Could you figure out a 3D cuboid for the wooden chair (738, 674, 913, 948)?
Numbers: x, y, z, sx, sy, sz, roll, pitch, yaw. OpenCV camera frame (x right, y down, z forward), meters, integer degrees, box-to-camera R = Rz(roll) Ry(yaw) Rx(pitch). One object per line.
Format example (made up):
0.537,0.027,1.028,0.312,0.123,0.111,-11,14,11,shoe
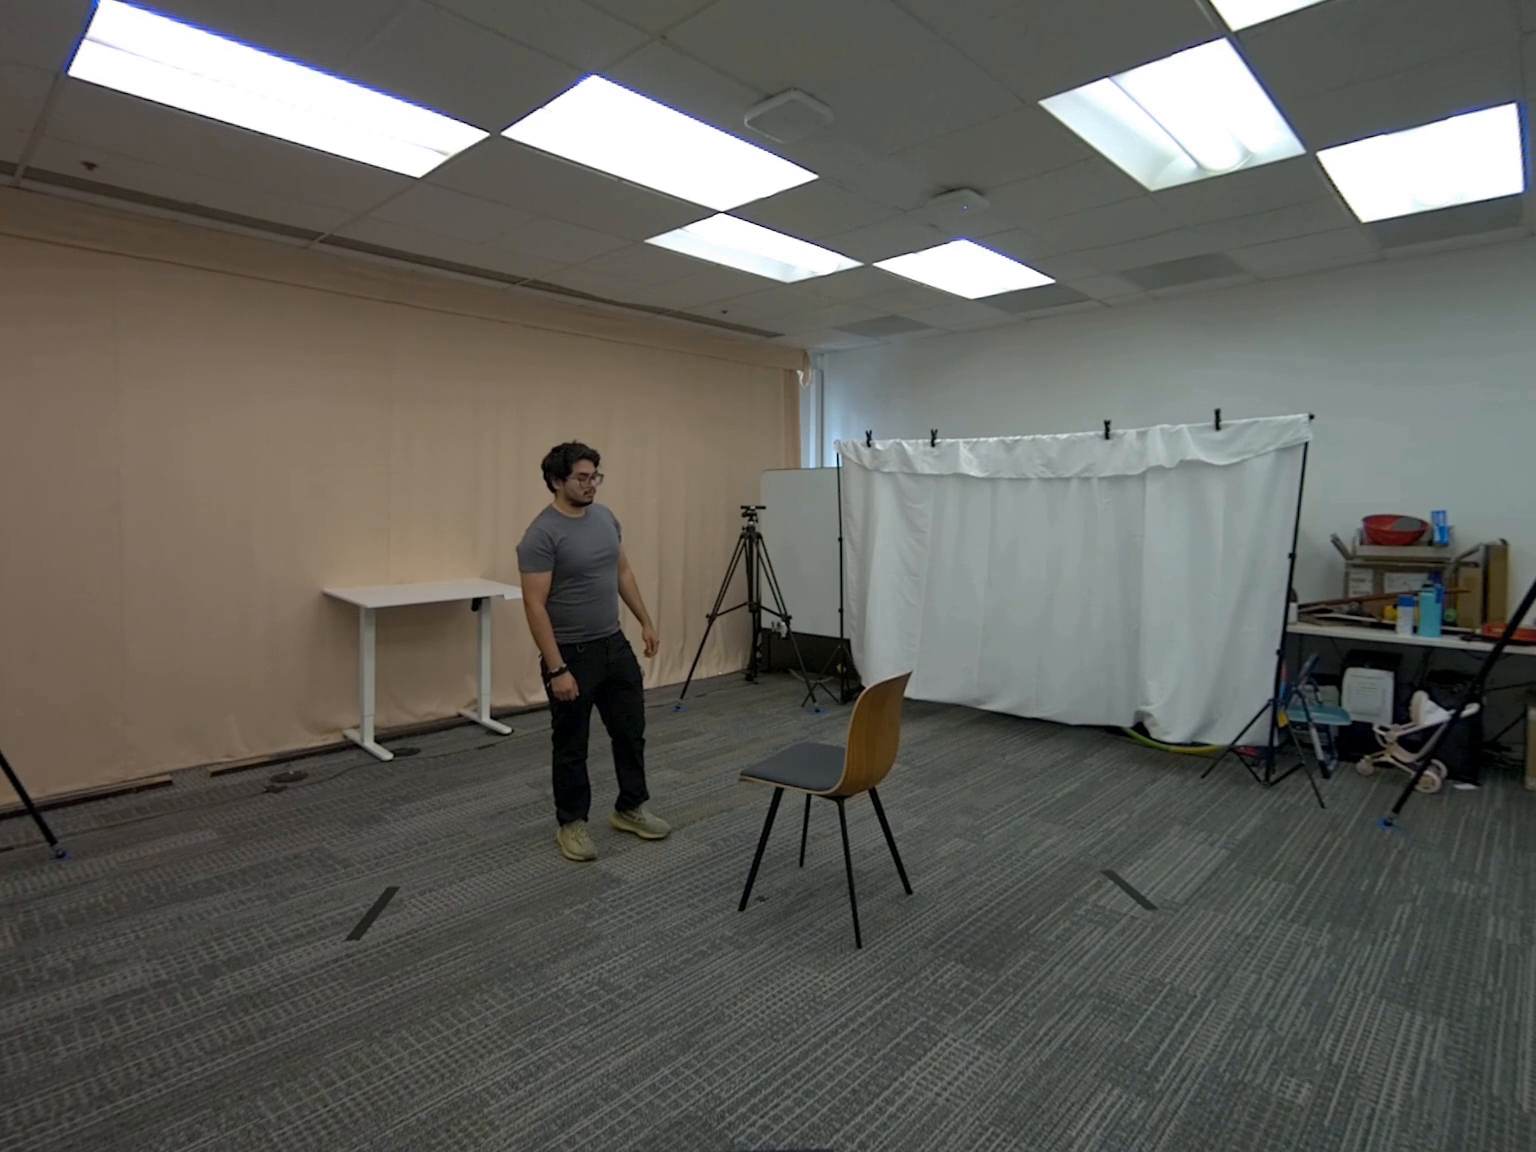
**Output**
0.202,0.719,2.926,0.539,0.874,0.465,7,7,32,wooden chair
